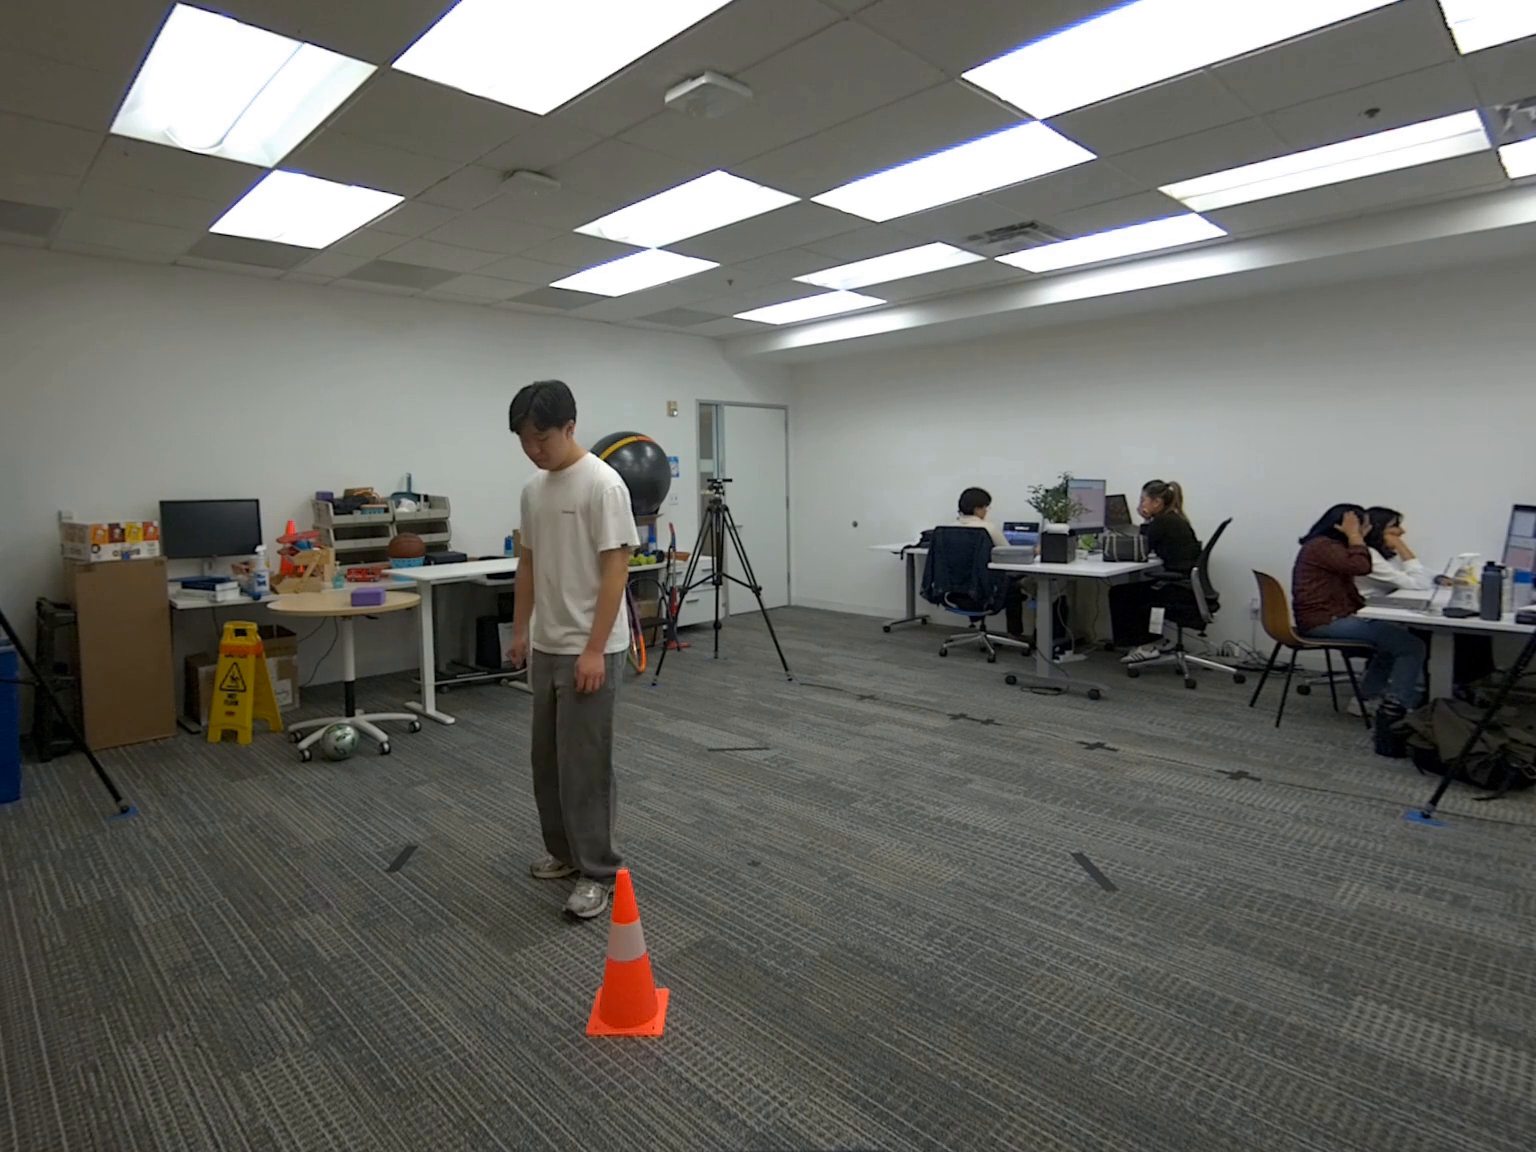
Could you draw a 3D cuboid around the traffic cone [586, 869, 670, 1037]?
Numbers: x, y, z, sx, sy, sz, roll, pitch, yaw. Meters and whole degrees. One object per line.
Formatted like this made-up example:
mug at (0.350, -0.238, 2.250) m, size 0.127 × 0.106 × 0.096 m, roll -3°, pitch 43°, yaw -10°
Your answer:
traffic cone at (-0.368, 0.970, 2.242) m, size 0.203 × 0.382 × 0.206 m, roll -3°, pitch 4°, yaw -1°
